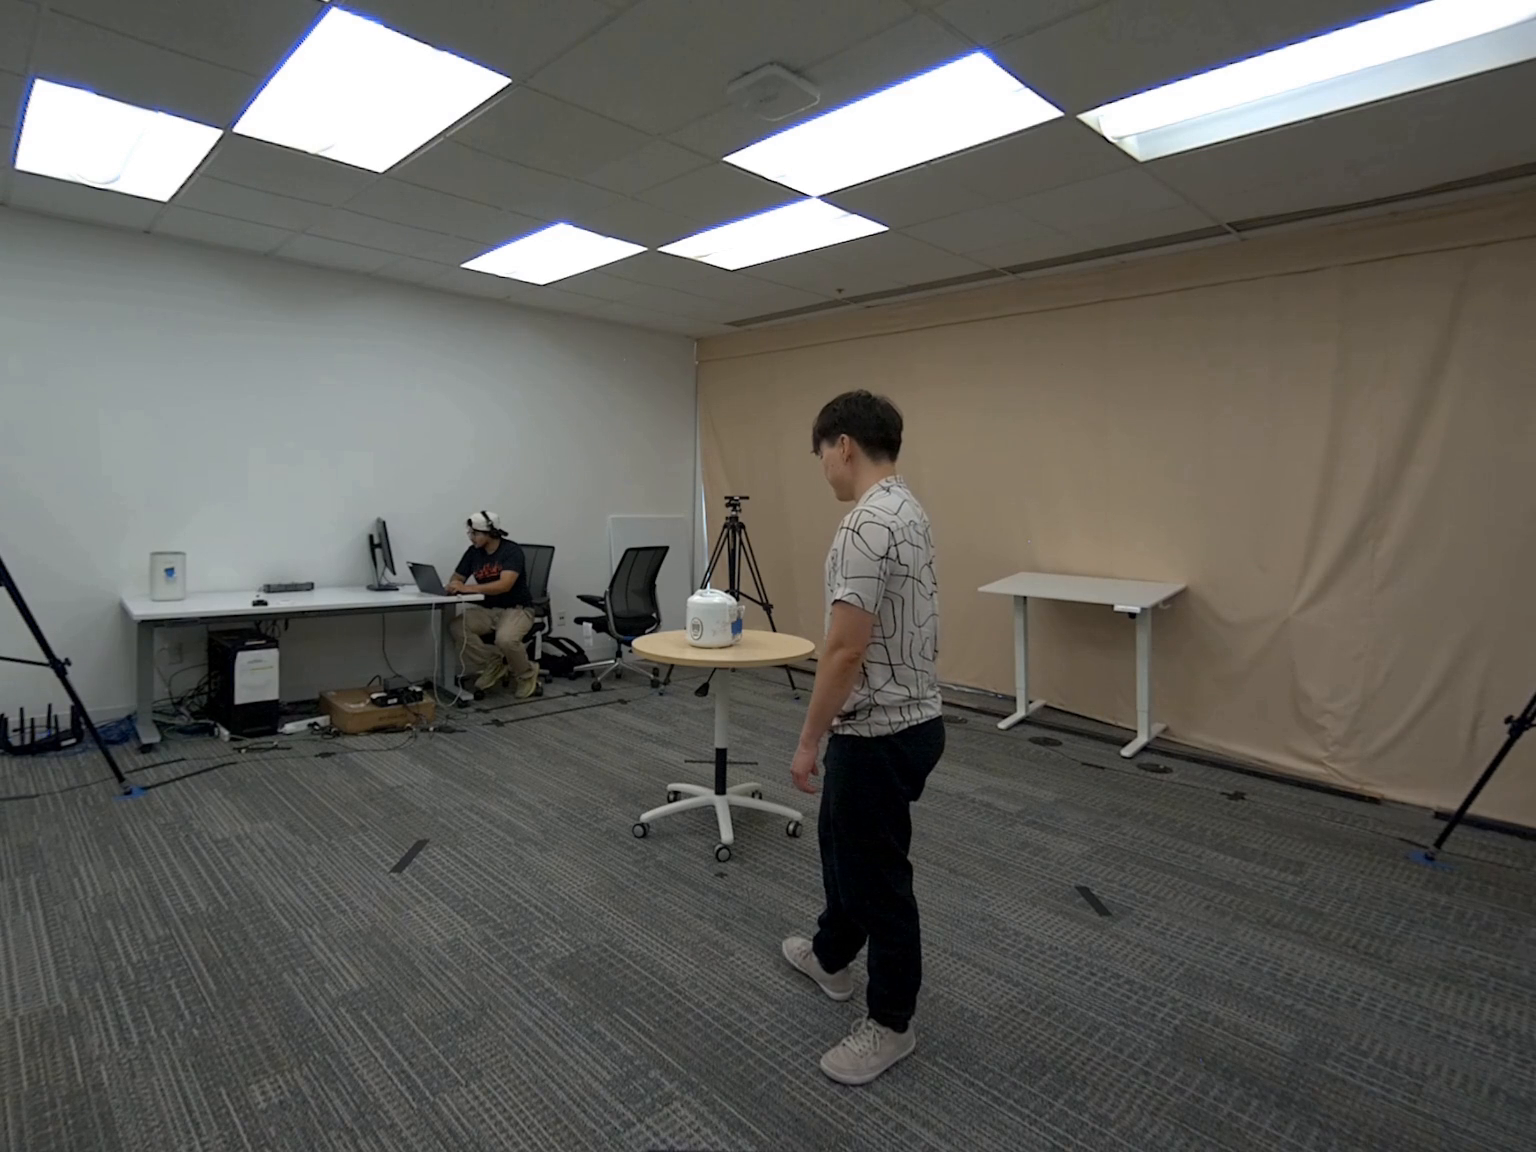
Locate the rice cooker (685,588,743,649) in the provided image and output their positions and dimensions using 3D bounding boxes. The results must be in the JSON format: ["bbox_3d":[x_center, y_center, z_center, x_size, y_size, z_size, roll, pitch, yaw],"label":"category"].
[{"bbox_3d":[-0.238,0.172,3.474,0.225,0.232,0.213,3,3,31],"label":"rice cooker"}]
